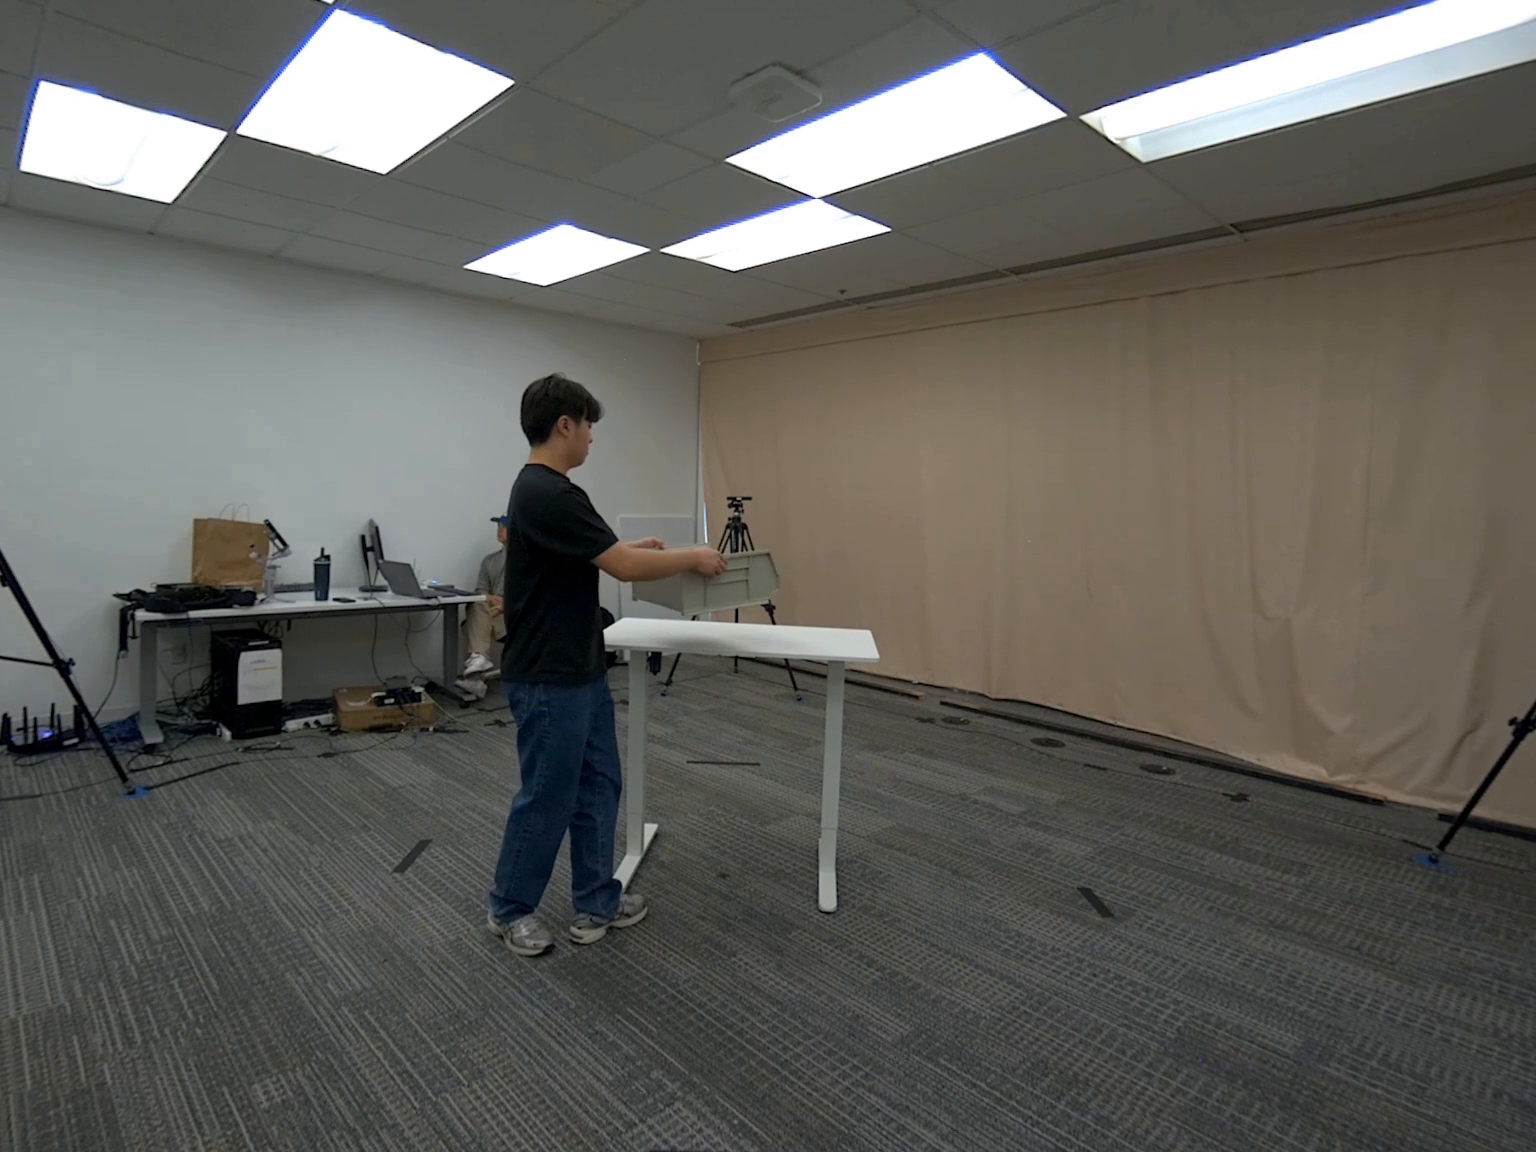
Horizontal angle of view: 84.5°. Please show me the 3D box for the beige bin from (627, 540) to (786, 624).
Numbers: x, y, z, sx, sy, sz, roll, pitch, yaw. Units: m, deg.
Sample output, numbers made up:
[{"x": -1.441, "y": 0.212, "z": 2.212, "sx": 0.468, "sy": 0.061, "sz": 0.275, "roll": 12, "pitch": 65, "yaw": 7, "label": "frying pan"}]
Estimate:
[{"x": -0.223, "y": 0.005, "z": 2.873, "sx": 0.371, "sy": 0.188, "sz": 0.432, "roll": -9, "pitch": 10, "yaw": -30, "label": "beige bin"}]
